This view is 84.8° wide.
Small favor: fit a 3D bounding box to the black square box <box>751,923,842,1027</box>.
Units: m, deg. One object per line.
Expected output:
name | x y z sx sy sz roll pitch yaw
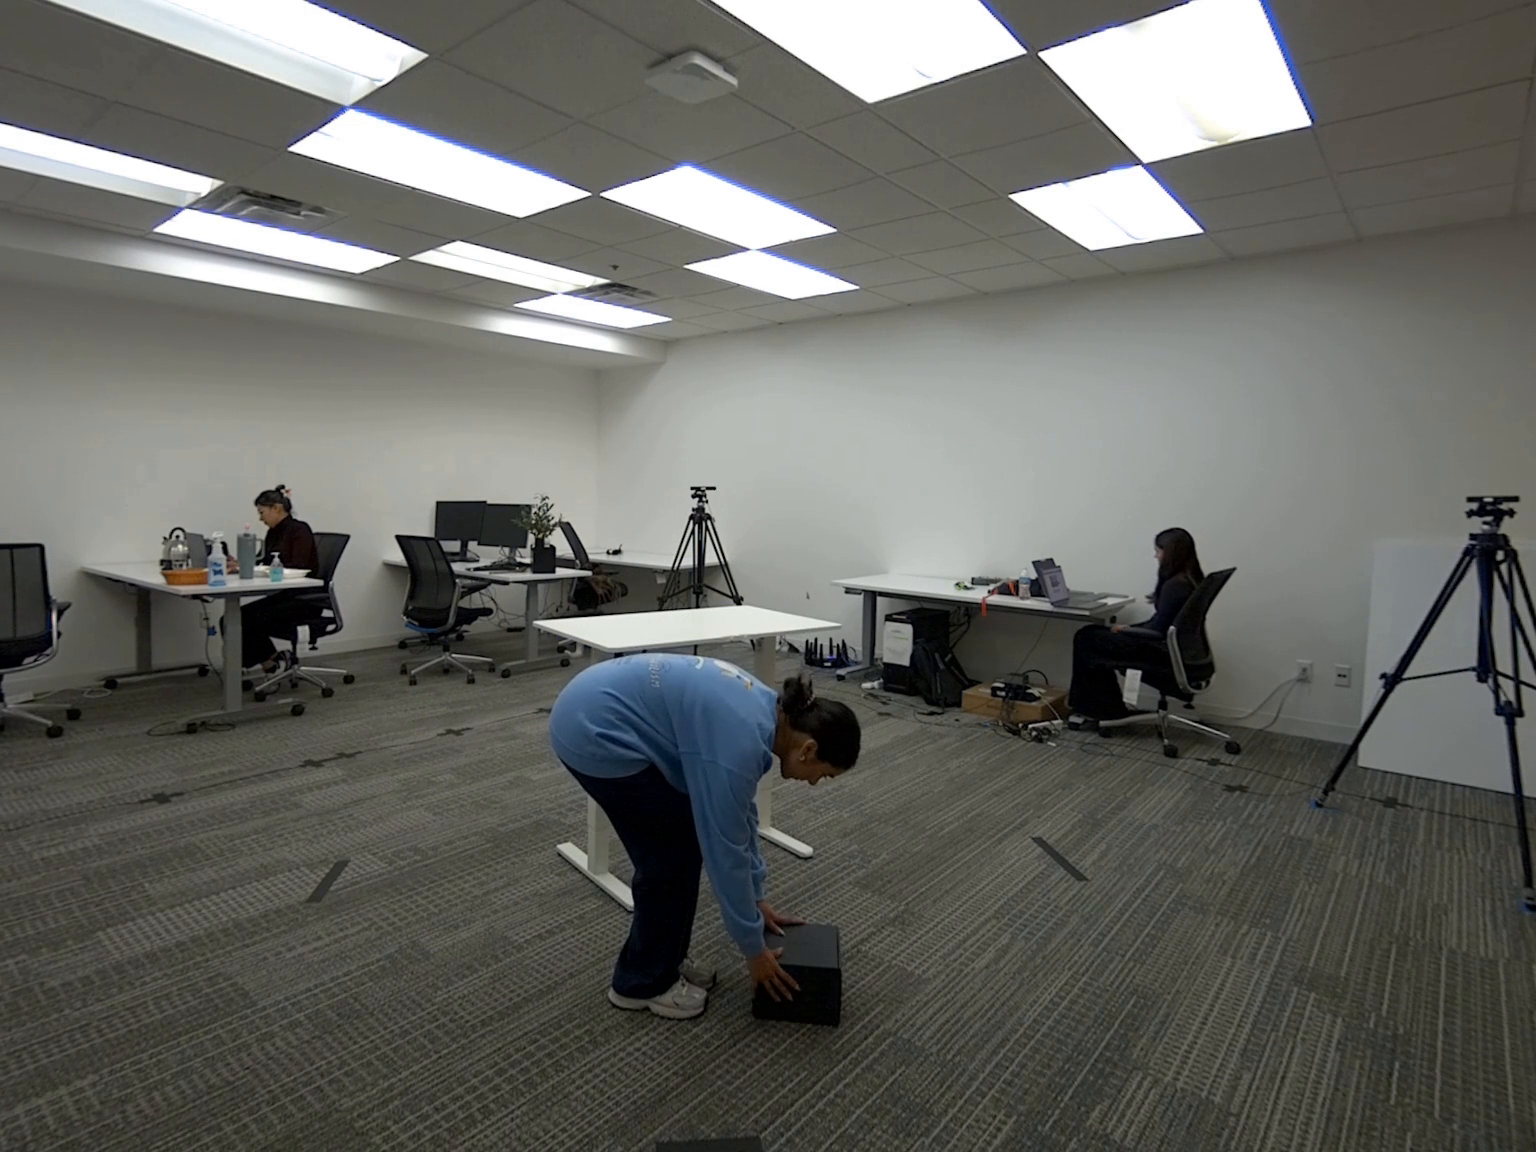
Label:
black square box | 0.074 1.063 2.308 0.229 0.155 0.216 1 5 5
